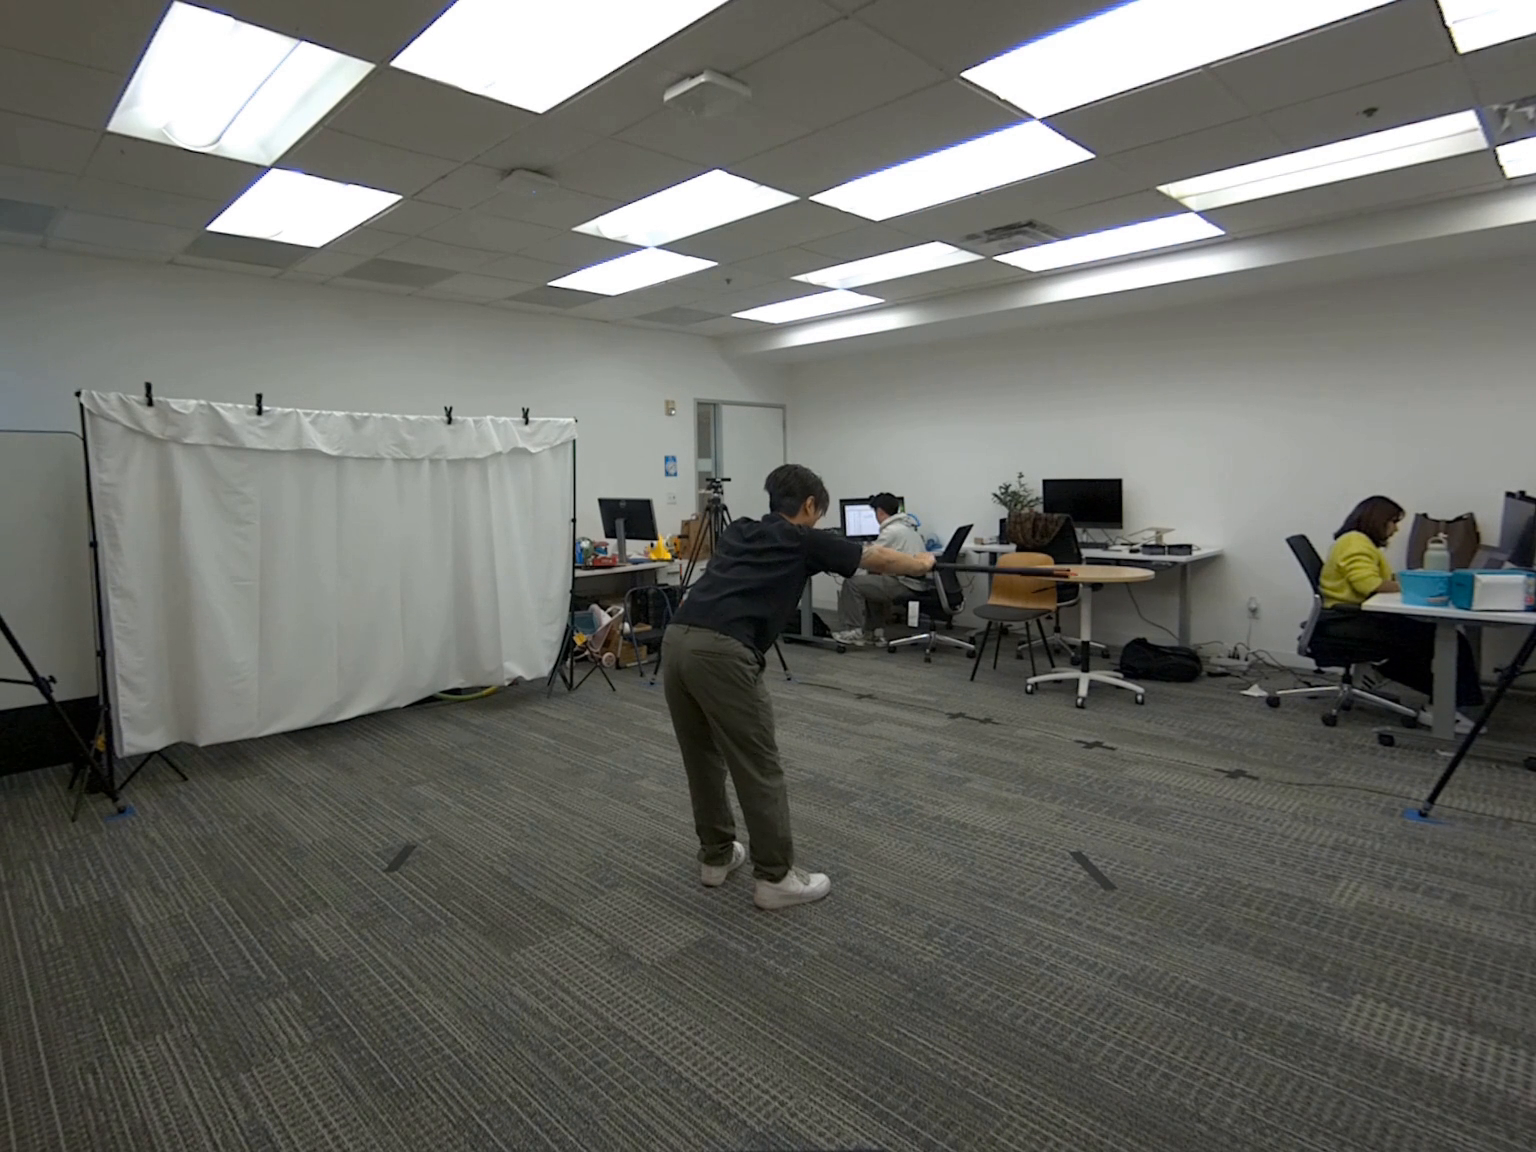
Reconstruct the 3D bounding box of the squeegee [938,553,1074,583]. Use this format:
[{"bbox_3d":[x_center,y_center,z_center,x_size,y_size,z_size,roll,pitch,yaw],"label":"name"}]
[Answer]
[{"bbox_3d":[0.413,-0.030,3.265,1.585,0.052,0.432,5,27,46],"label":"squeegee"}]
